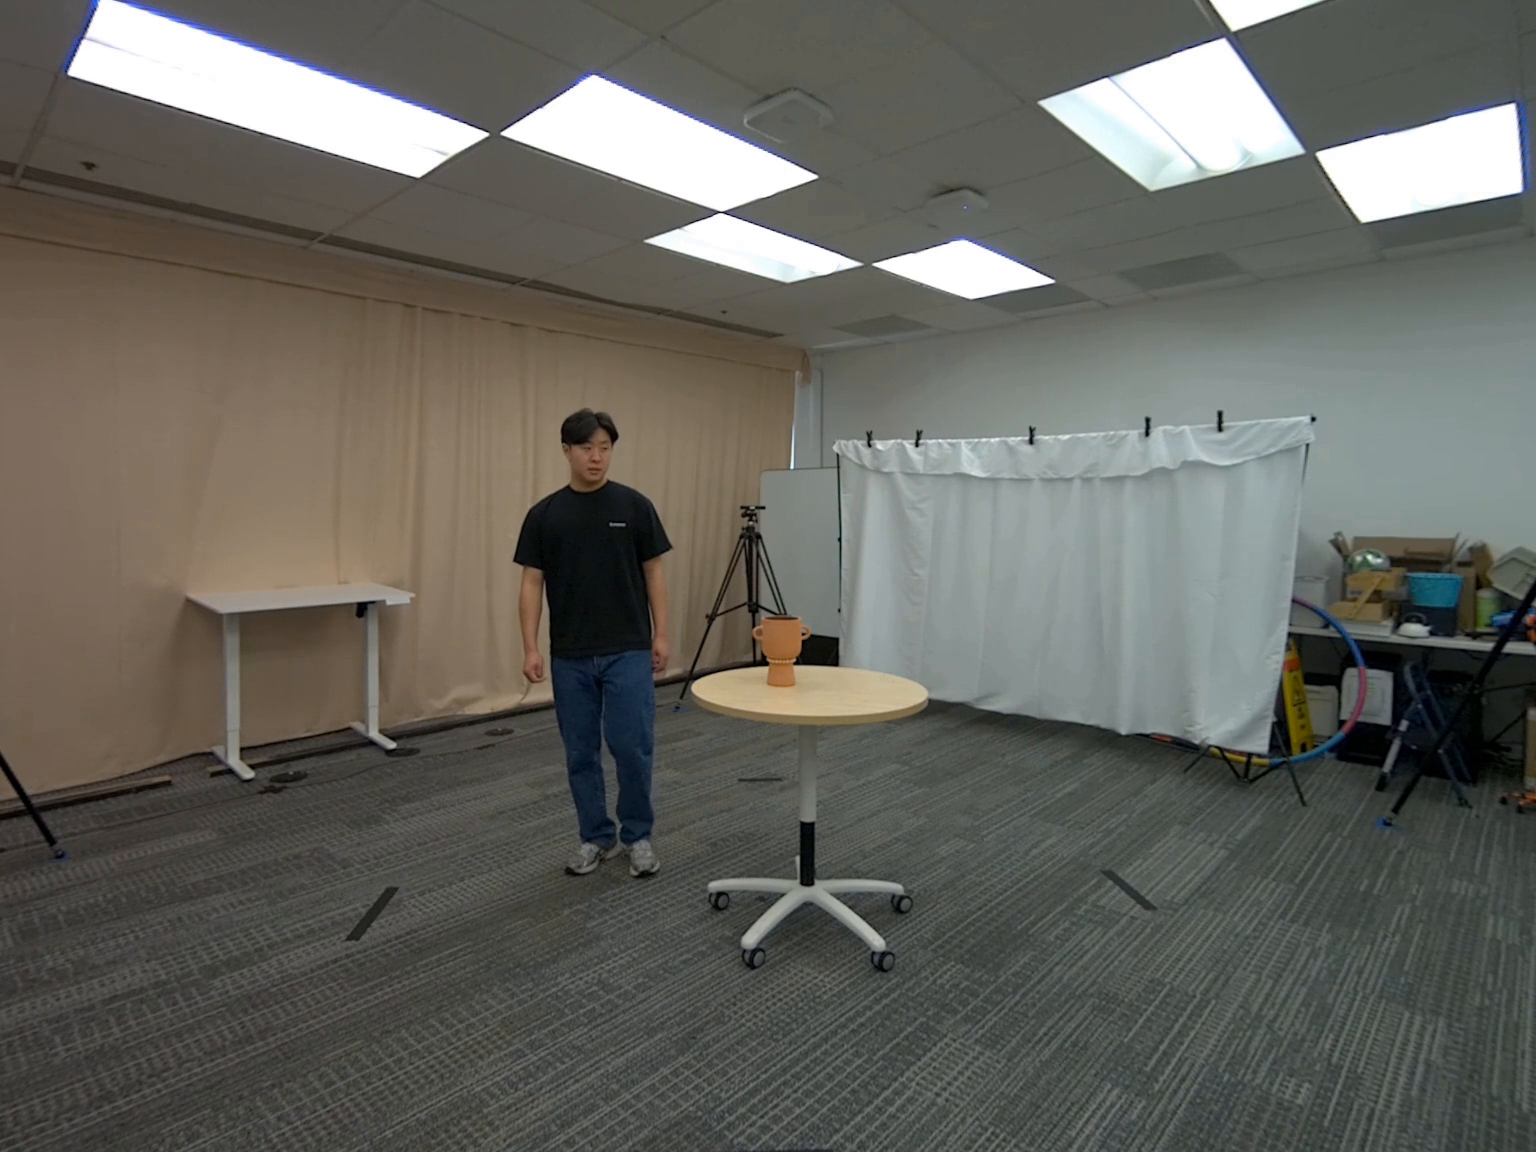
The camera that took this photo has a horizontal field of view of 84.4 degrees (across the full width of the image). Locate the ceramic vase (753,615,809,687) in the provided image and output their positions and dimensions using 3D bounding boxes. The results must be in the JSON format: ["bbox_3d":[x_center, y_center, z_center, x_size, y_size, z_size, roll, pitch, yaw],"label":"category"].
[{"bbox_3d":[0.051,0.251,2.810,0.163,0.219,0.131,1,2,28],"label":"ceramic vase"}]
